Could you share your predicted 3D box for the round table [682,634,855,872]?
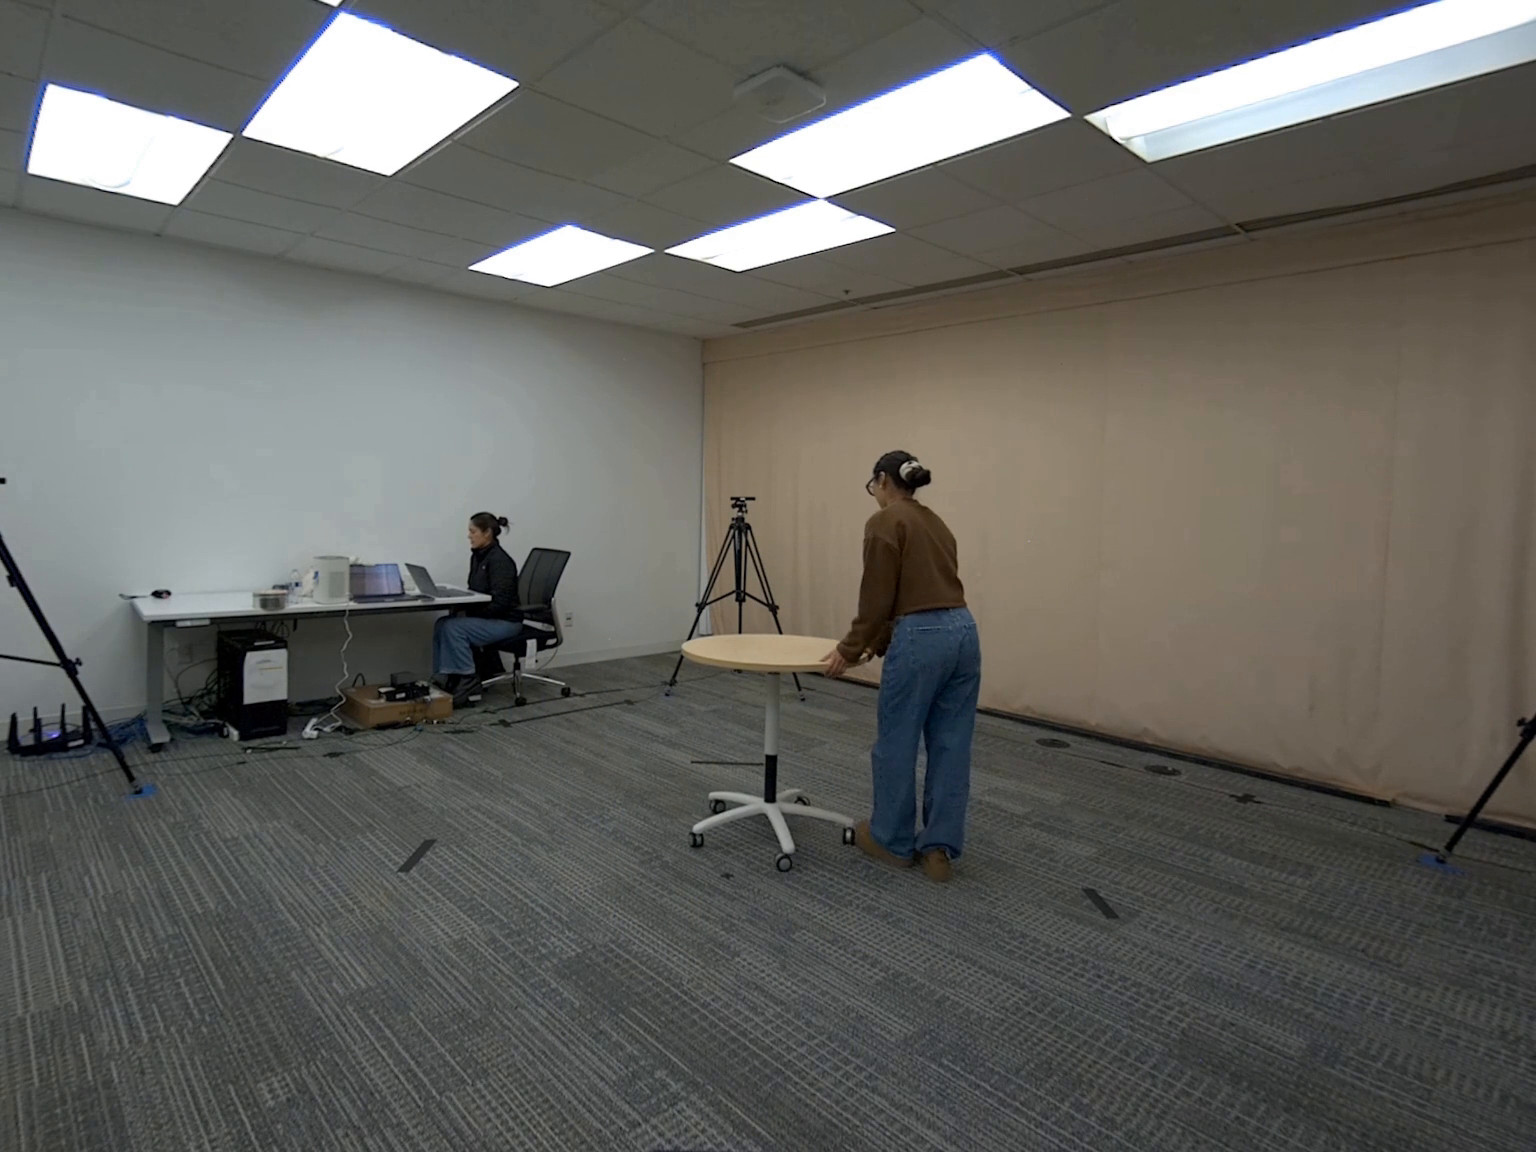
[{"bbox_3d":[-0.001,0.682,3.497,0.784,0.785,0.787,2,3,-1],"label":"round table"}]
